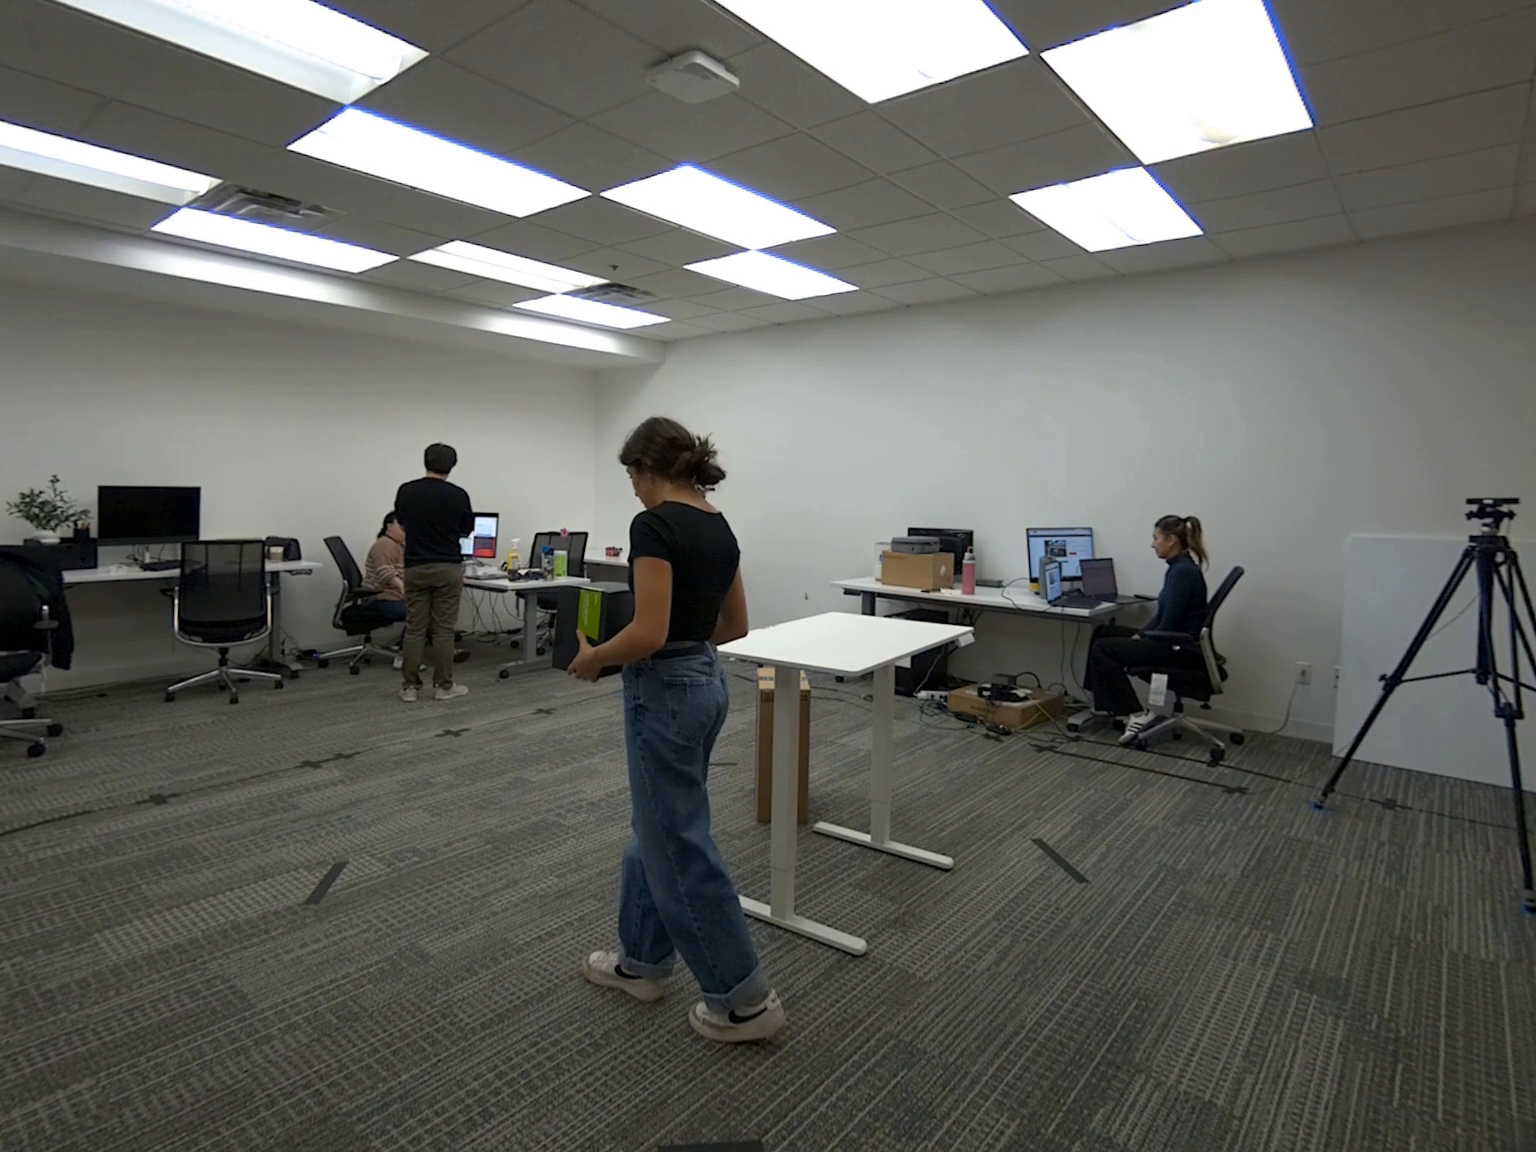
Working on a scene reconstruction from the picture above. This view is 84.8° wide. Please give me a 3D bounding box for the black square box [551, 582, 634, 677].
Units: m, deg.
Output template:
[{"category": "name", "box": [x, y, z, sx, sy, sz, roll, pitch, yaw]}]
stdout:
[{"category": "black square box", "box": [-0.467, 0.136, 2.338, 0.160, 0.227, 0.212, 6, 3, 23]}]
